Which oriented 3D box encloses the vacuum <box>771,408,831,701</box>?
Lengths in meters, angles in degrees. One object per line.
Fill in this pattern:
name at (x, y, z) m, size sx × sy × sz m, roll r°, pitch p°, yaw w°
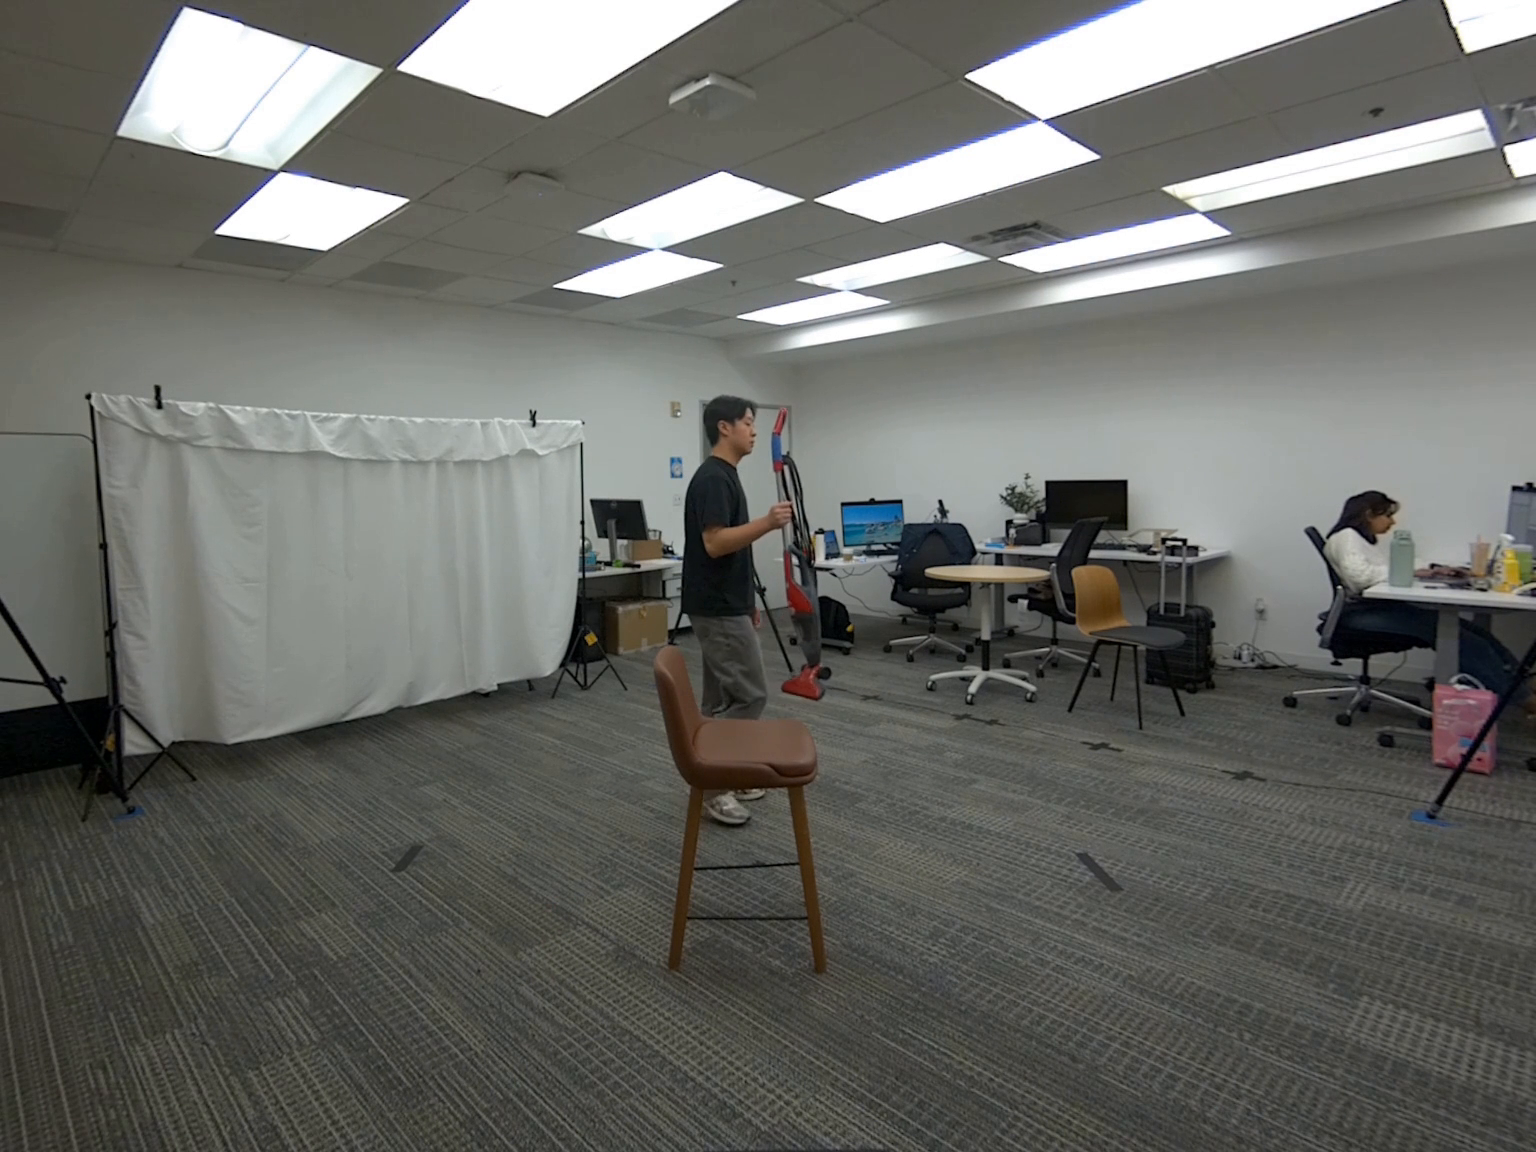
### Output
vacuum at (0.113, -0.102, 3.282) m, size 0.140 × 1.048 × 0.259 m, roll -5°, pitch 1°, yaw -41°
